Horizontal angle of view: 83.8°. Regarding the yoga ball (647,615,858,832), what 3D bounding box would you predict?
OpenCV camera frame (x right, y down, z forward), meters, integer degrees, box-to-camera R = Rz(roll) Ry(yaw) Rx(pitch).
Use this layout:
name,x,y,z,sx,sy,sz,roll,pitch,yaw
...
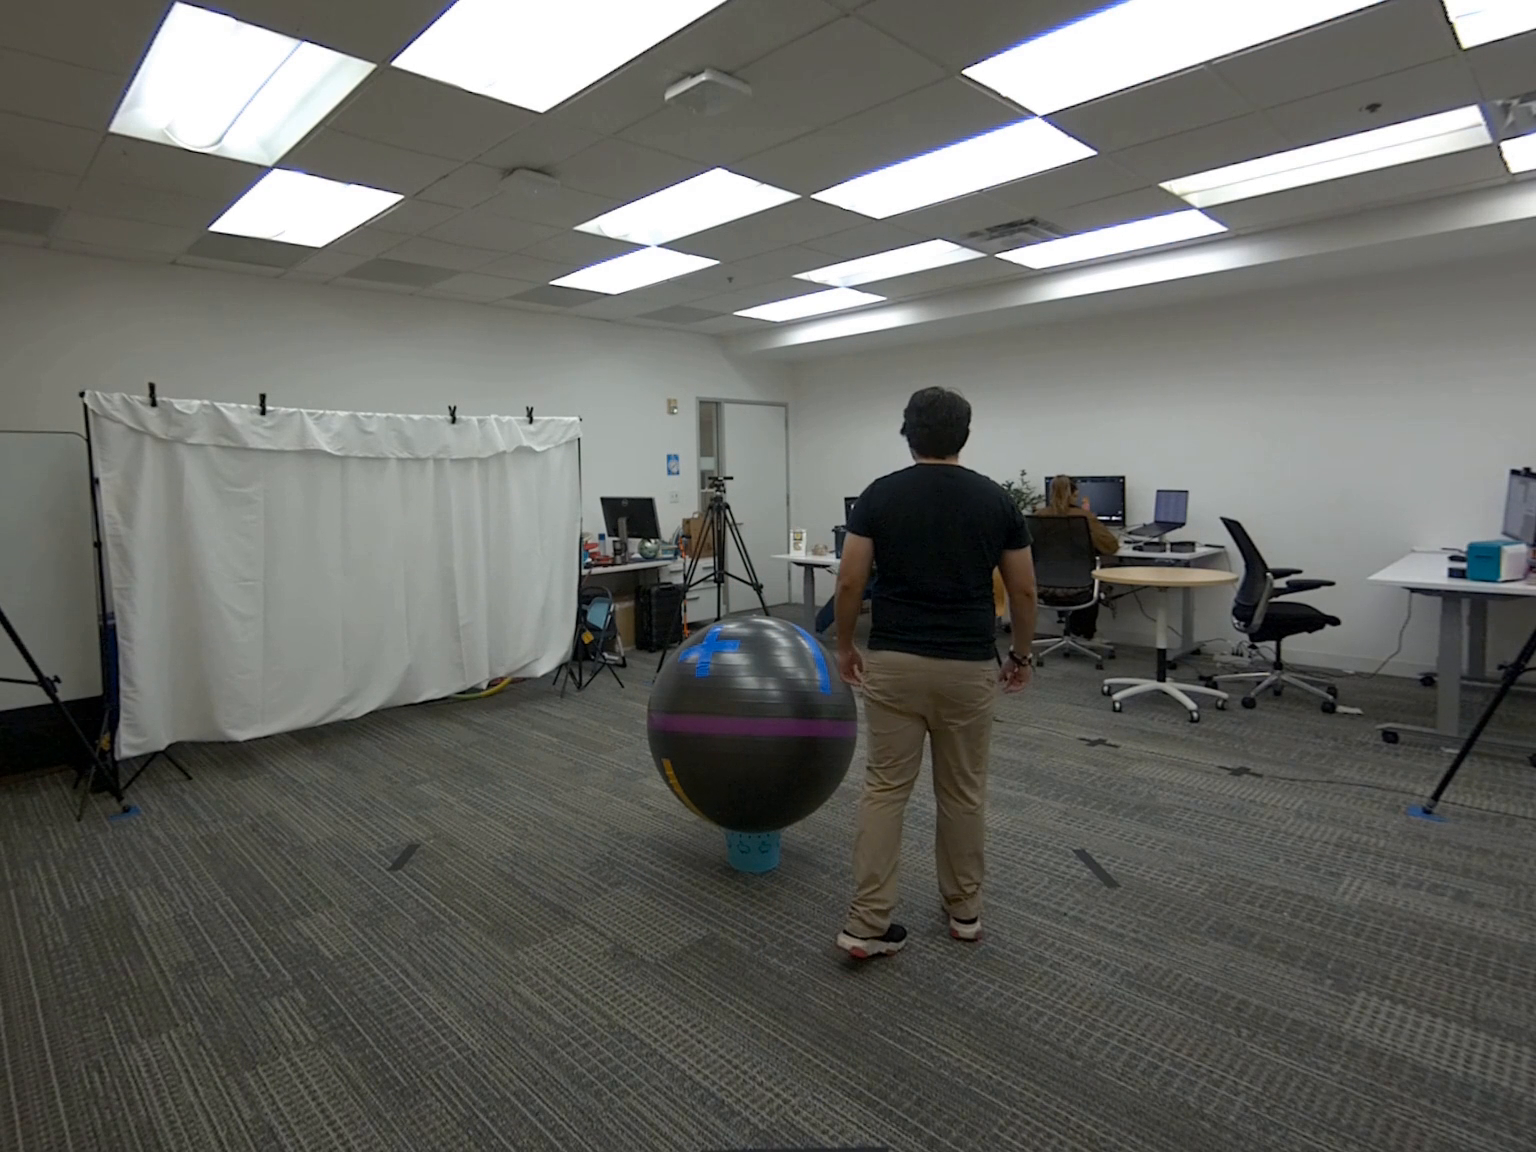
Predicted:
name,x,y,z,sx,sy,sz,roll,pitch,yaw
yoga ball,-0.057,0.525,3.099,0.757,0.755,0.762,-1,5,-2
